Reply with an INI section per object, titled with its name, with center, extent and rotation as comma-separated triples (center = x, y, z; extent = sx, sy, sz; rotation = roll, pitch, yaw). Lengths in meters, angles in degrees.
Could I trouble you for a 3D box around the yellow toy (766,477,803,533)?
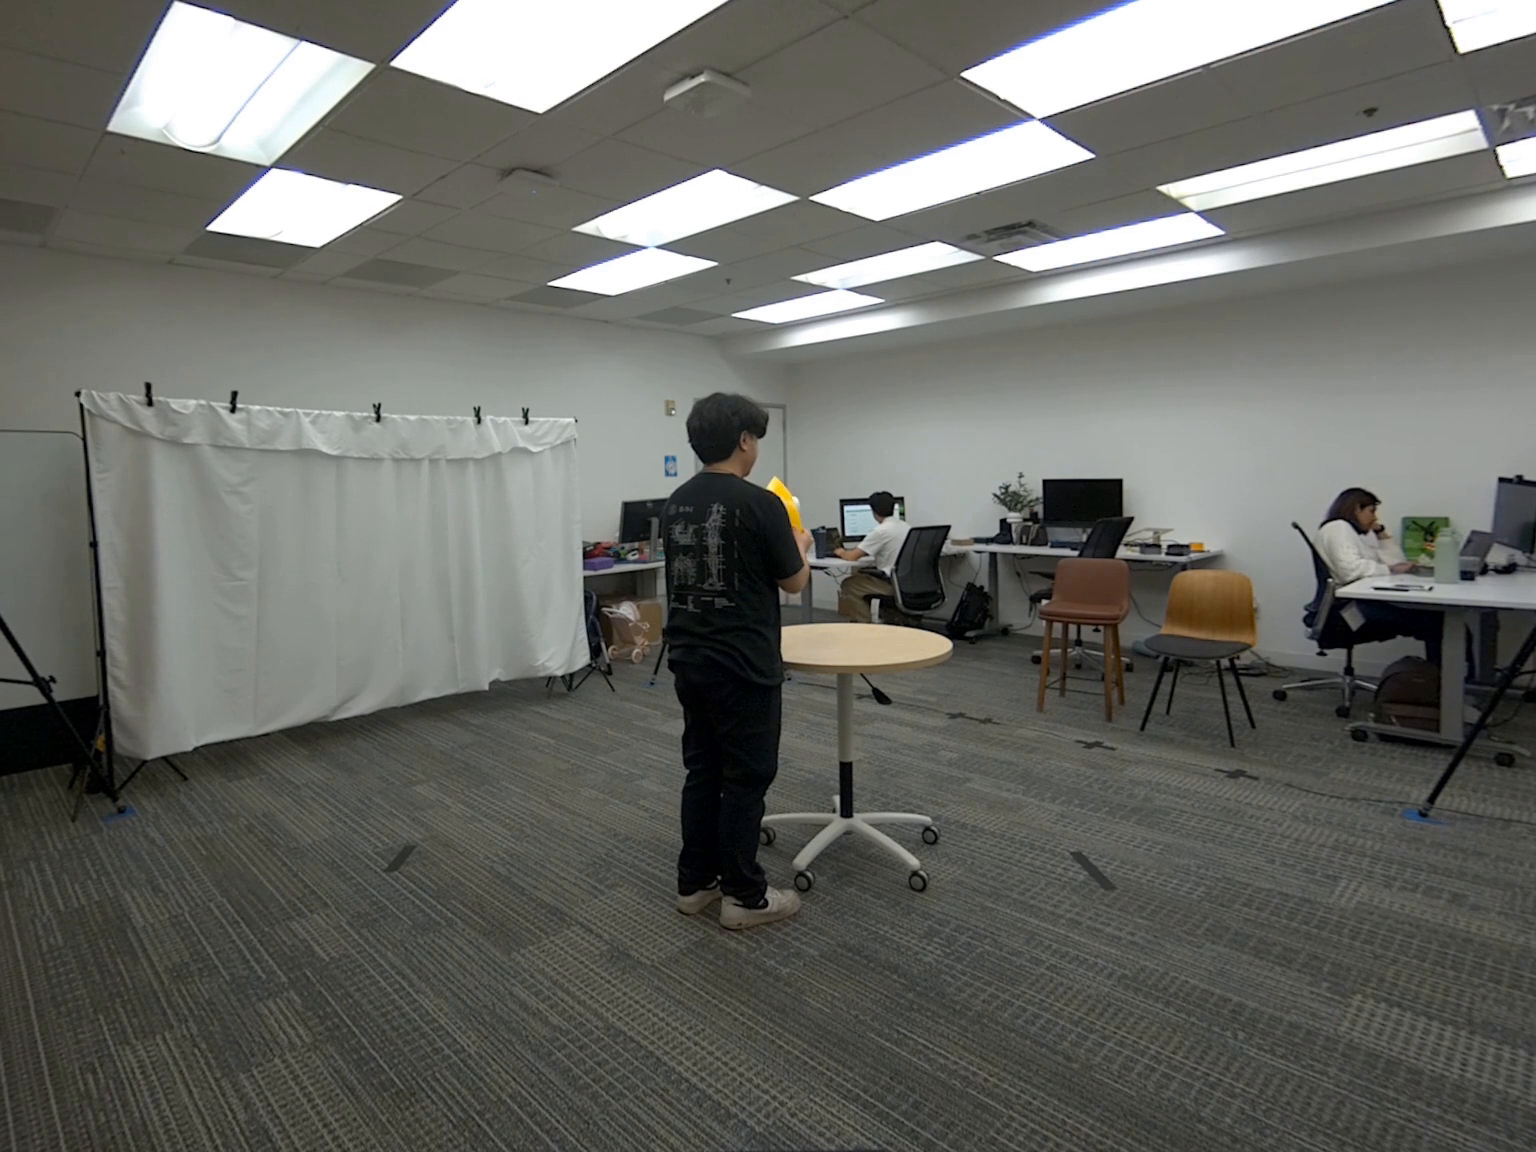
[yellow toy]
center = 0.062, -0.237, 3.054
extent = 0.199, 0.228, 0.200
rotation = 18, 15, 34
